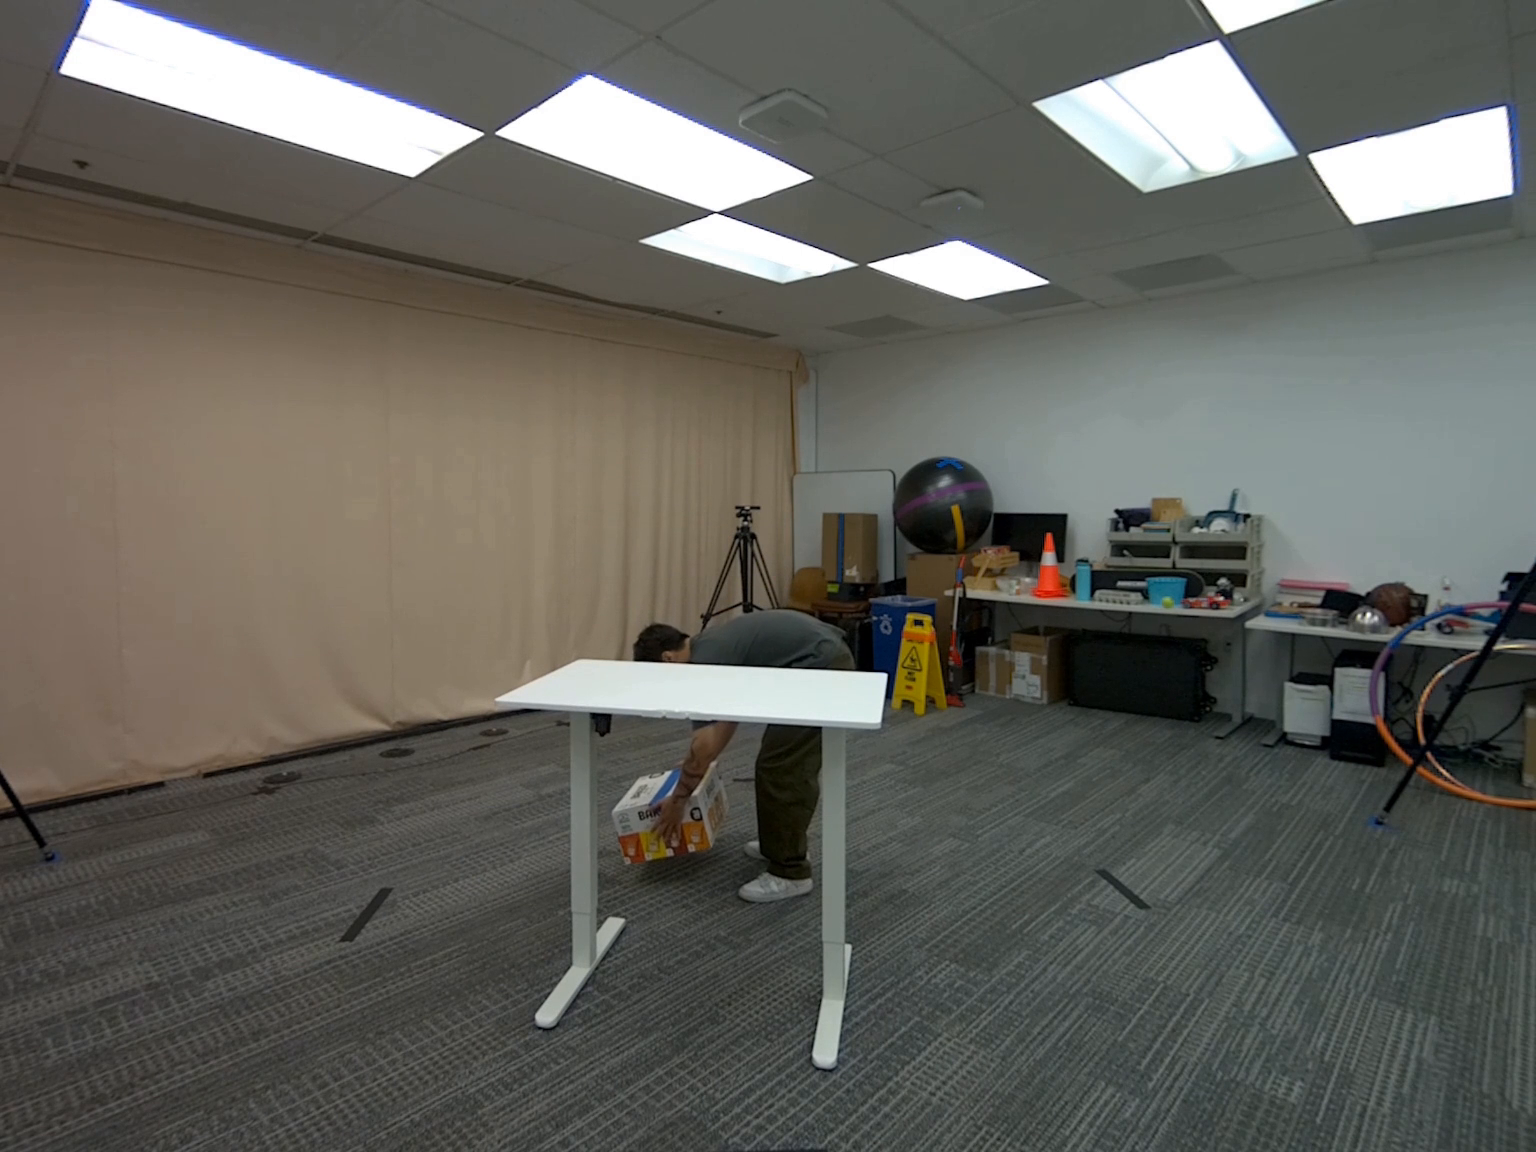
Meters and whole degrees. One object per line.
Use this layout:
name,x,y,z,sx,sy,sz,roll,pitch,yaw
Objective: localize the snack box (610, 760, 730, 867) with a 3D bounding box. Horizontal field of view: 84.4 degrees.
snack box,-0.368,0.907,3.275,0.343,0.205,0.402,-14,3,9
